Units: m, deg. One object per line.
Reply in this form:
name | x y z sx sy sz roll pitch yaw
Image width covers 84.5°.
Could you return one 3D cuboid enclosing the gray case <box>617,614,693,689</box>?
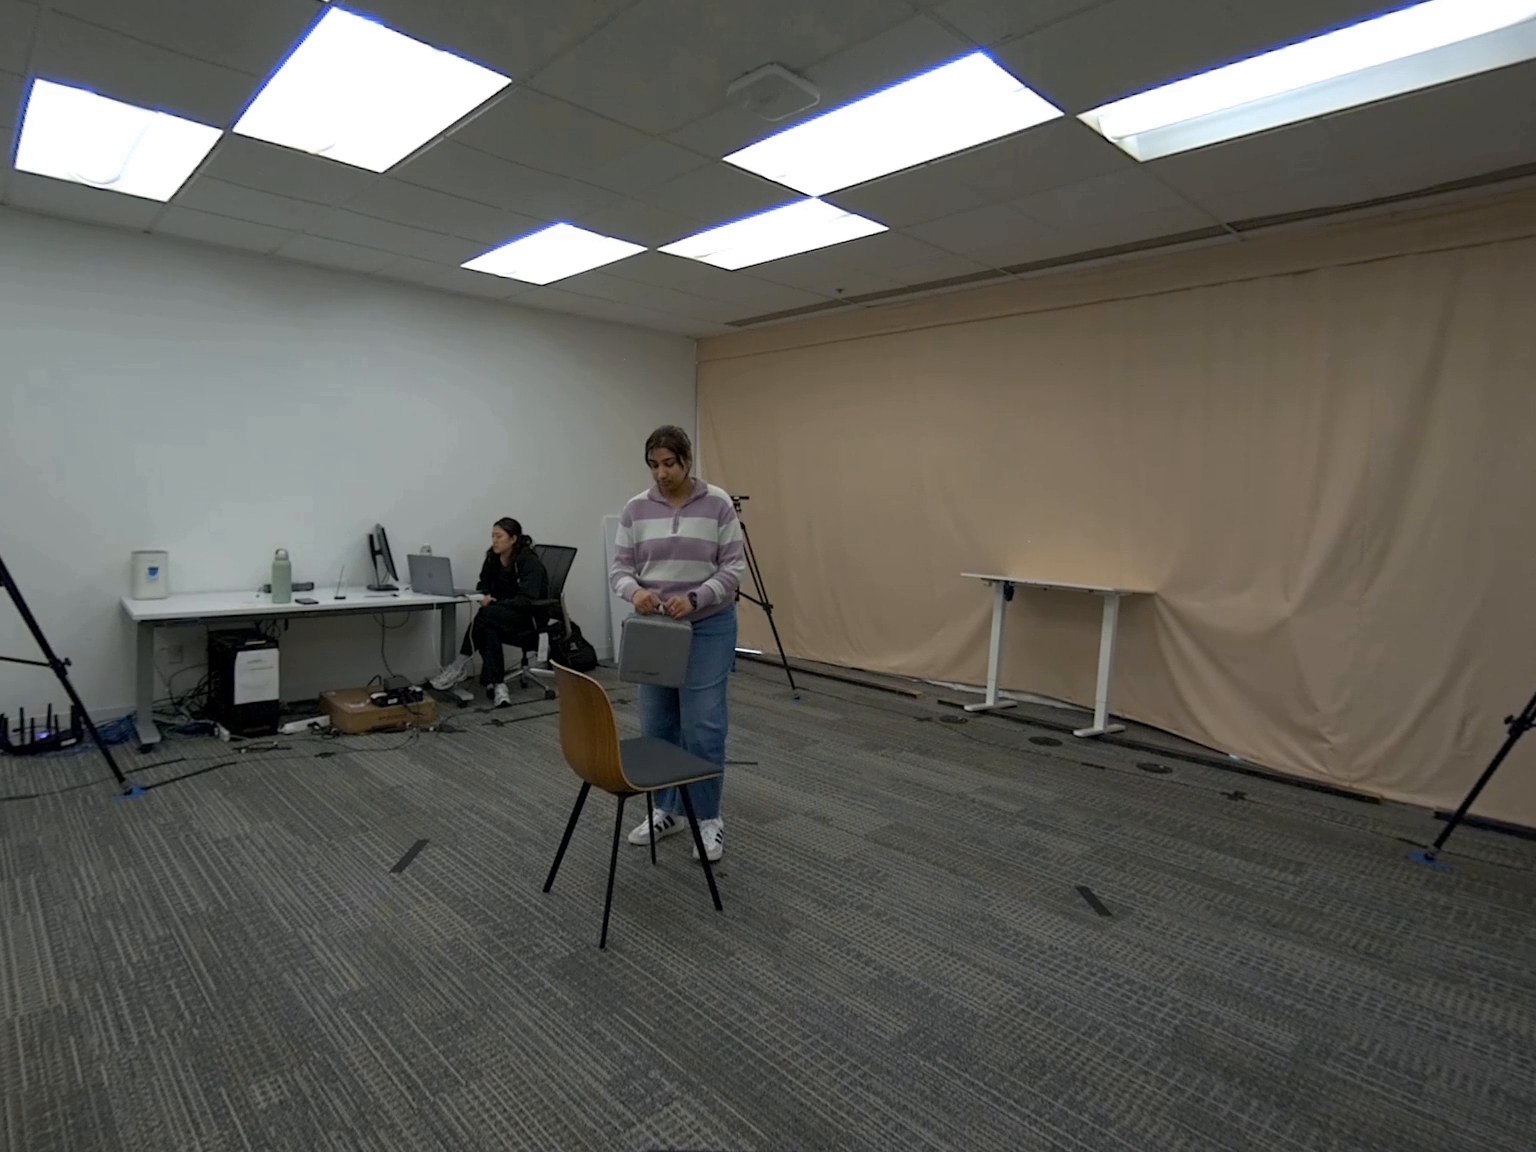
gray case | -0.430 0.271 3.113 0.256 0.258 0.105 7 14 -3
